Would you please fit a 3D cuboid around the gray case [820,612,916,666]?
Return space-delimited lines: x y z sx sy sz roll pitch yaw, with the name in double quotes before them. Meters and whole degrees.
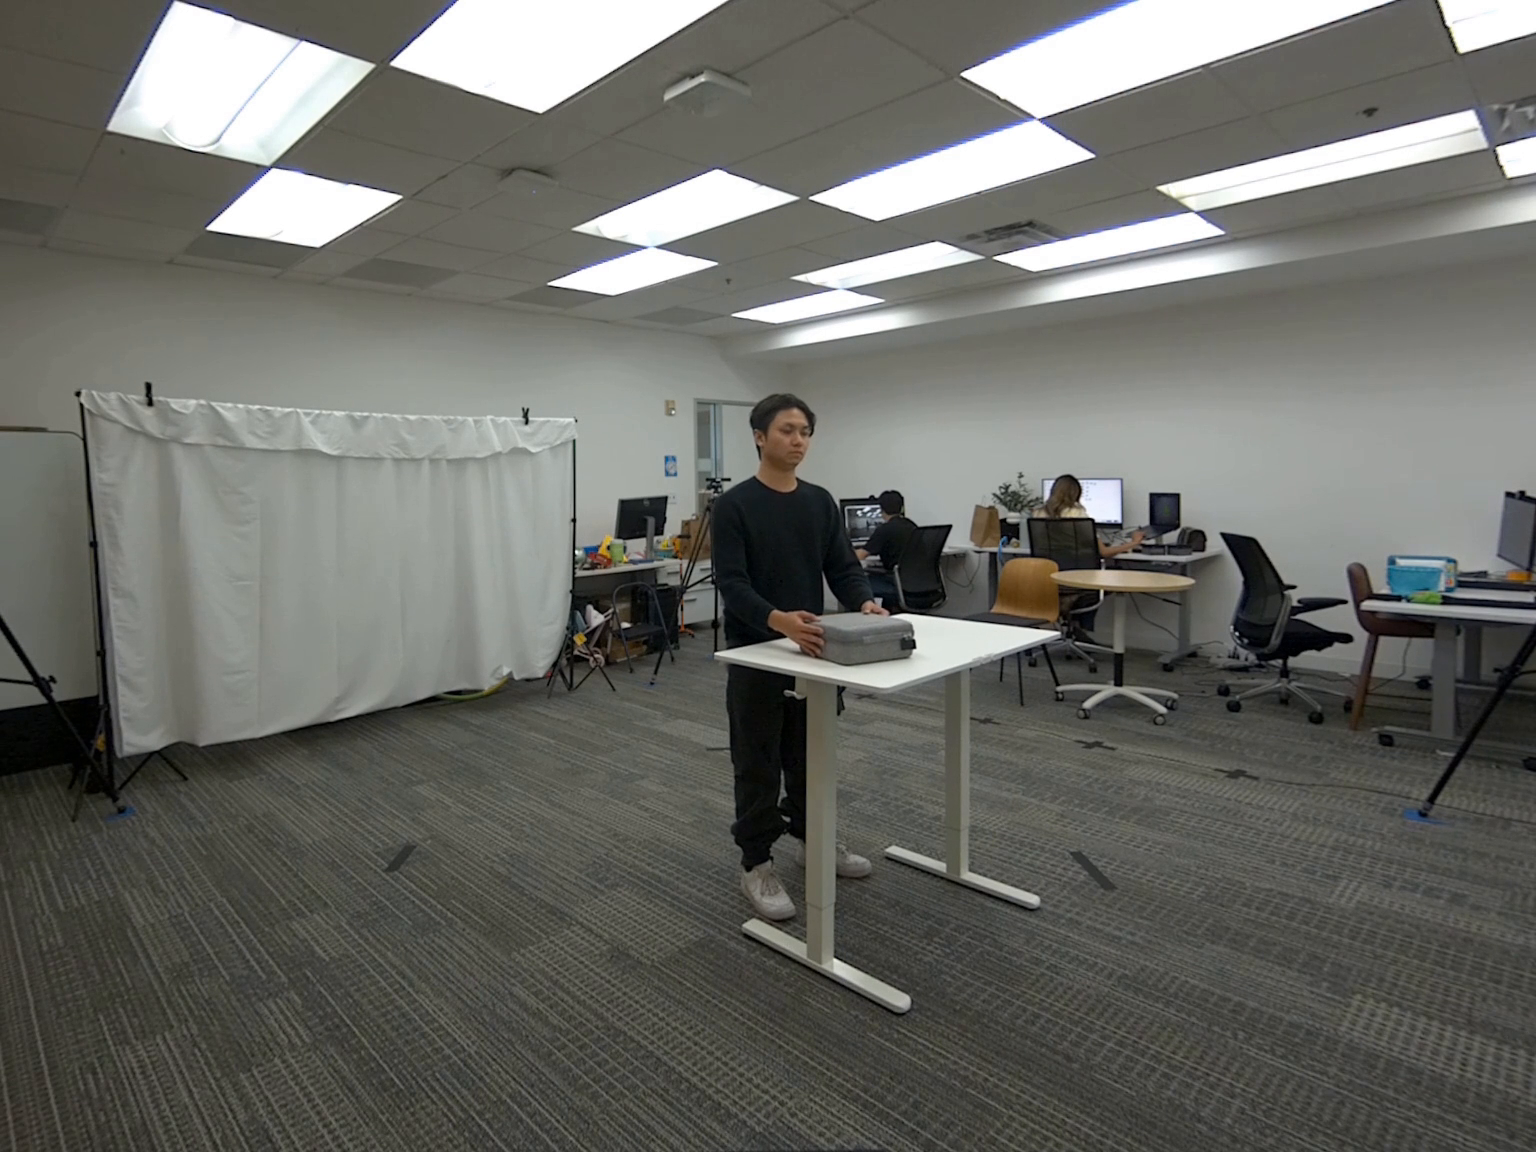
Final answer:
"gray case" 0.253 0.178 2.456 0.251 0.104 0.268 -5 7 -30
